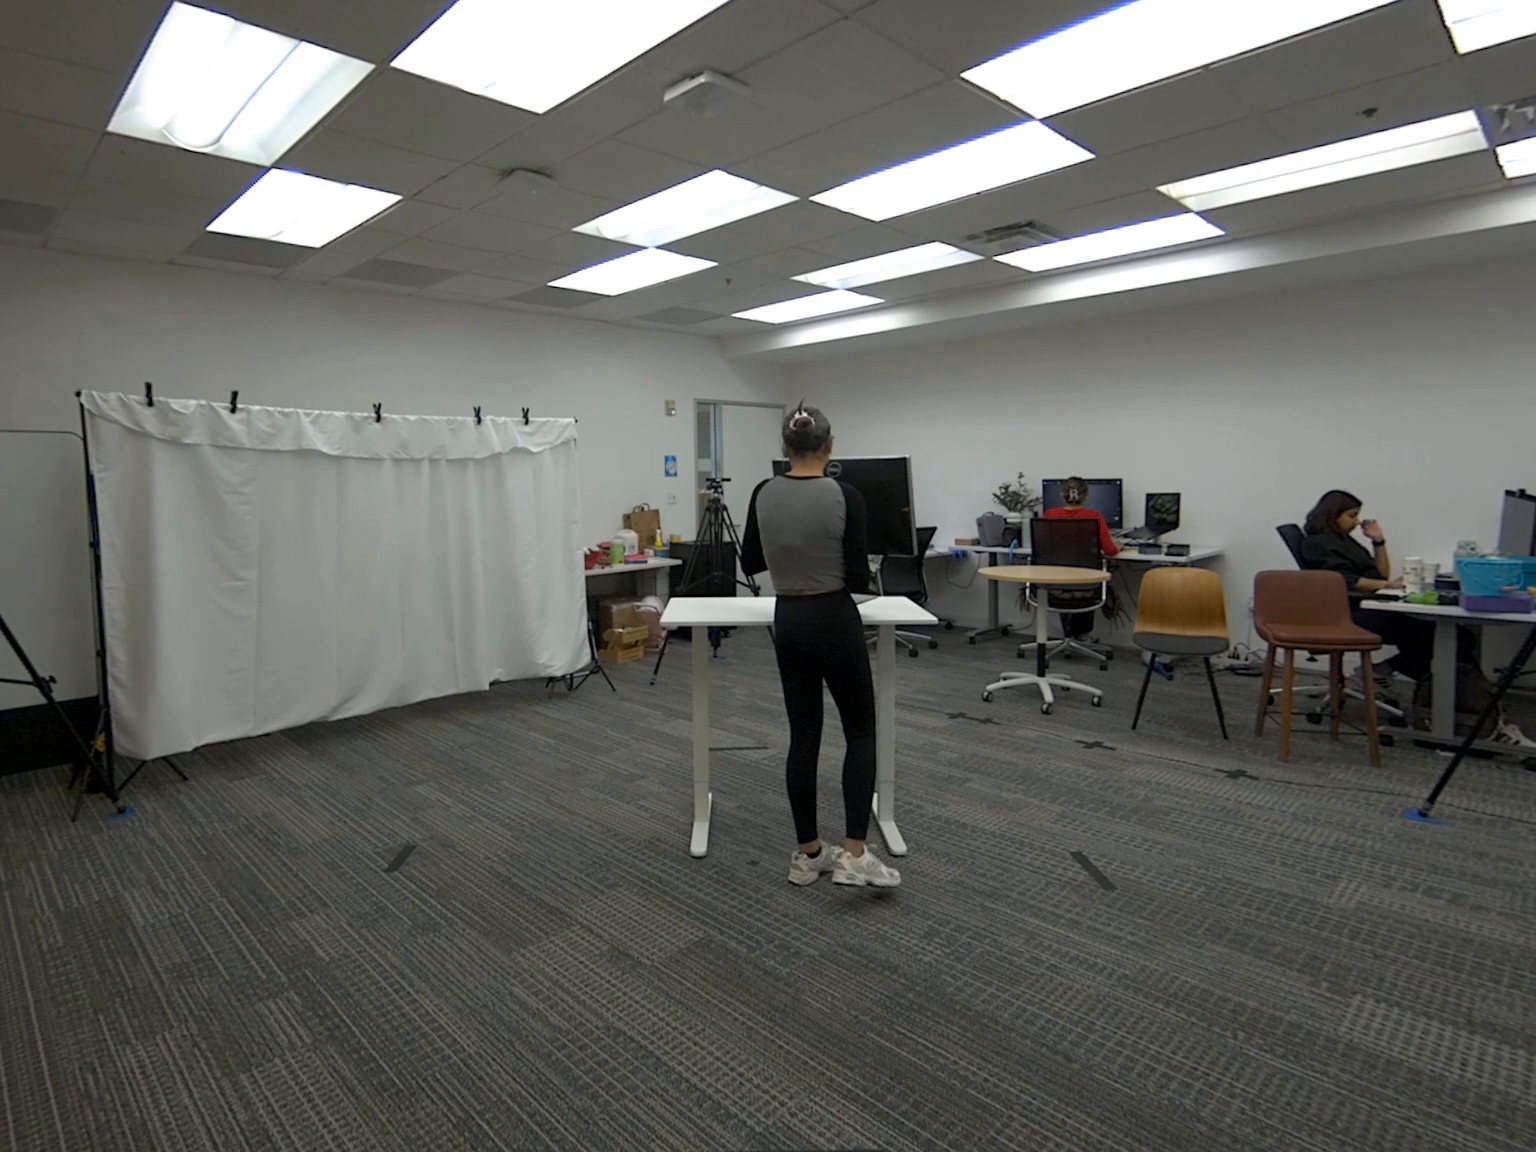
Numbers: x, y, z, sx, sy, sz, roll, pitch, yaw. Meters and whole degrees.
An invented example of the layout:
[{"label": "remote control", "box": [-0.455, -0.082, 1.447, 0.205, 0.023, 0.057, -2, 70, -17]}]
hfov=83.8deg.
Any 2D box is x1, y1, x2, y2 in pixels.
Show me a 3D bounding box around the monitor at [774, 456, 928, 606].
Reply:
[{"label": "monitor", "box": [0.261, -0.168, 3.136, 0.554, 0.521, 0.182, 3, 4, 35]}]
